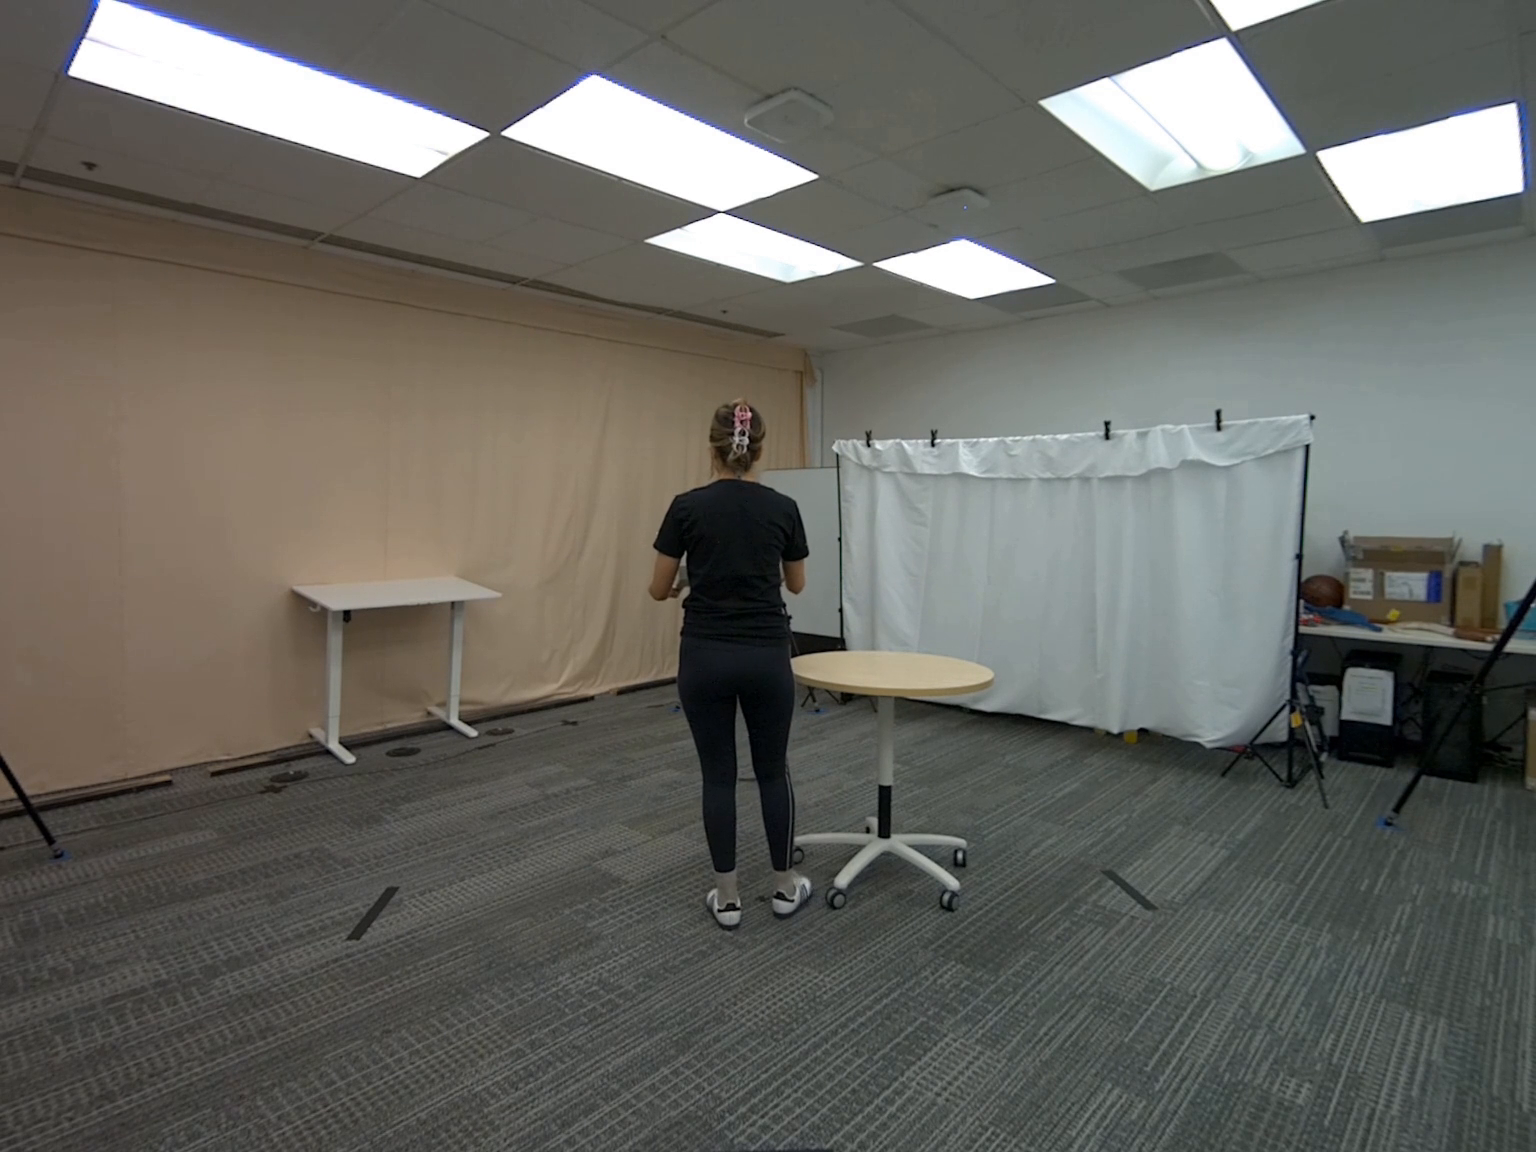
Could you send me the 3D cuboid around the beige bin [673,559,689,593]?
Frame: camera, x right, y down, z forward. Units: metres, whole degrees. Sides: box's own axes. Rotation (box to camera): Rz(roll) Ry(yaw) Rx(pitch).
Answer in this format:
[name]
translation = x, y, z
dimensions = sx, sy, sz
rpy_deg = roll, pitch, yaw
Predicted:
[beige bin]
translation = -0.183, -0.057, 3.196
dimensions = 0.415, 0.188, 0.385
rpy_deg = 0, 6, -16
